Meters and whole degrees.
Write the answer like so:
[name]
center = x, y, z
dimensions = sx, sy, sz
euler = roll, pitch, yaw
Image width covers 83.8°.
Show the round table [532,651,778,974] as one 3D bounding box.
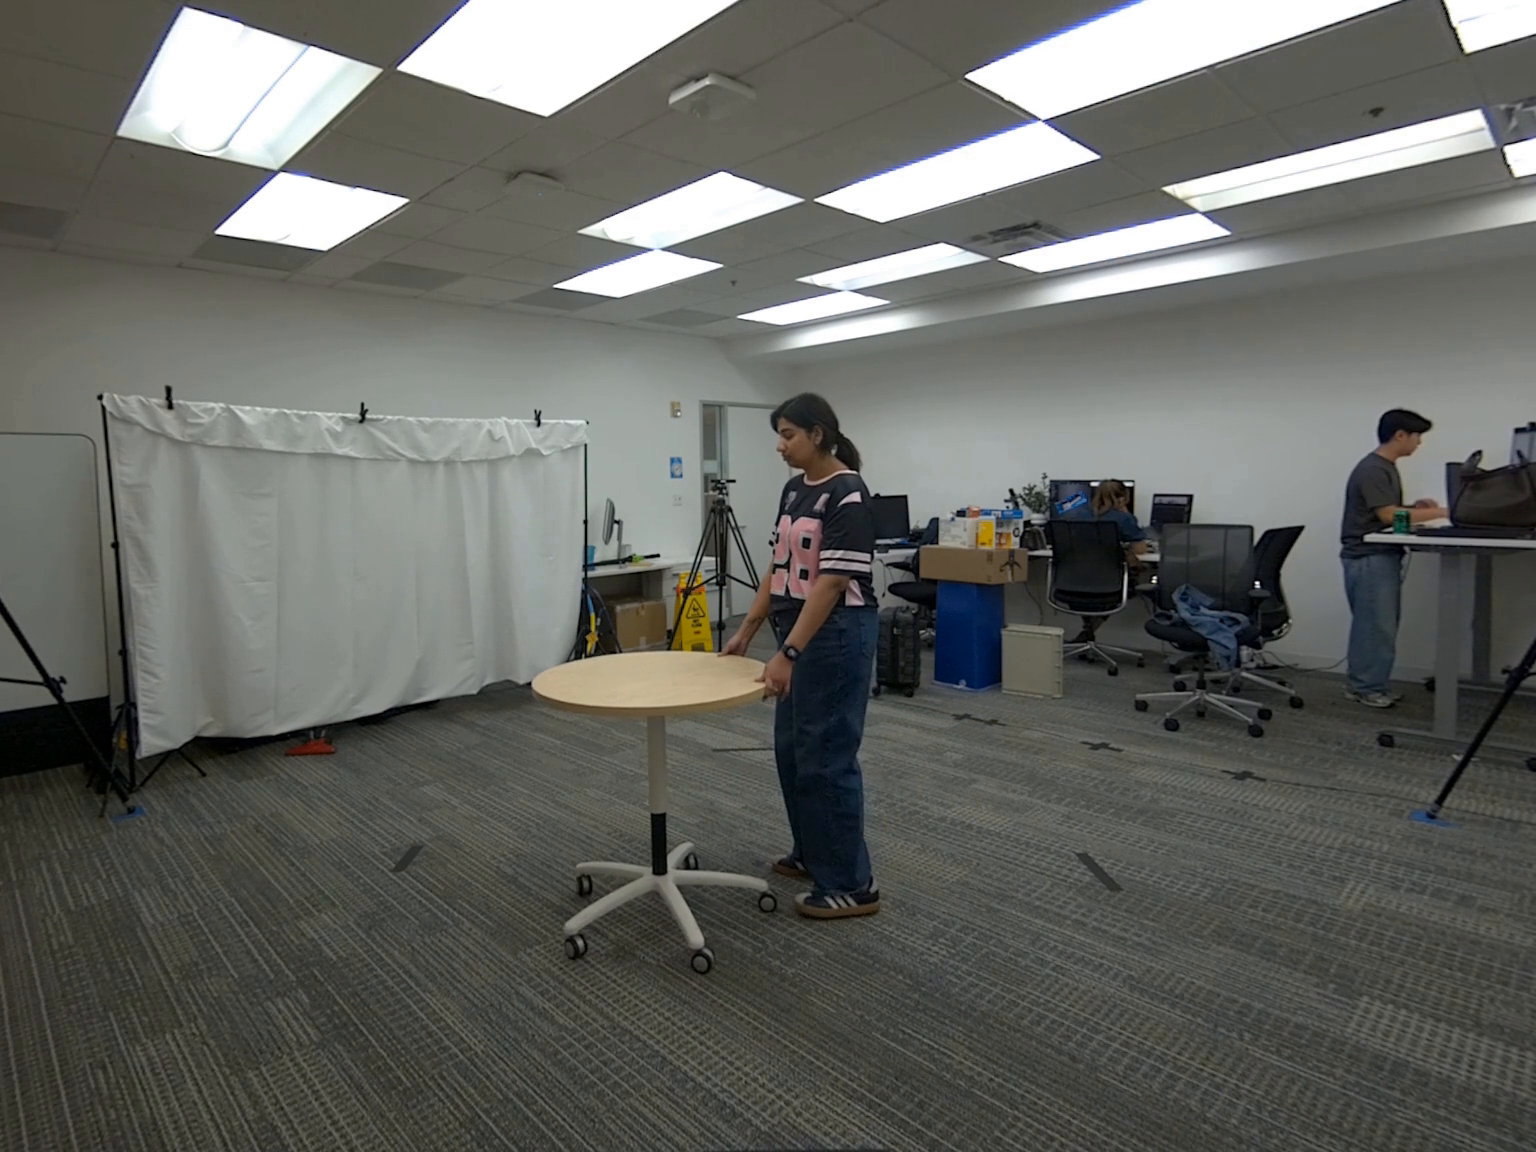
[round table]
center = -0.331, 0.701, 2.729
dimensions = 0.784, 0.783, 0.789
euler = -2, 5, -2
